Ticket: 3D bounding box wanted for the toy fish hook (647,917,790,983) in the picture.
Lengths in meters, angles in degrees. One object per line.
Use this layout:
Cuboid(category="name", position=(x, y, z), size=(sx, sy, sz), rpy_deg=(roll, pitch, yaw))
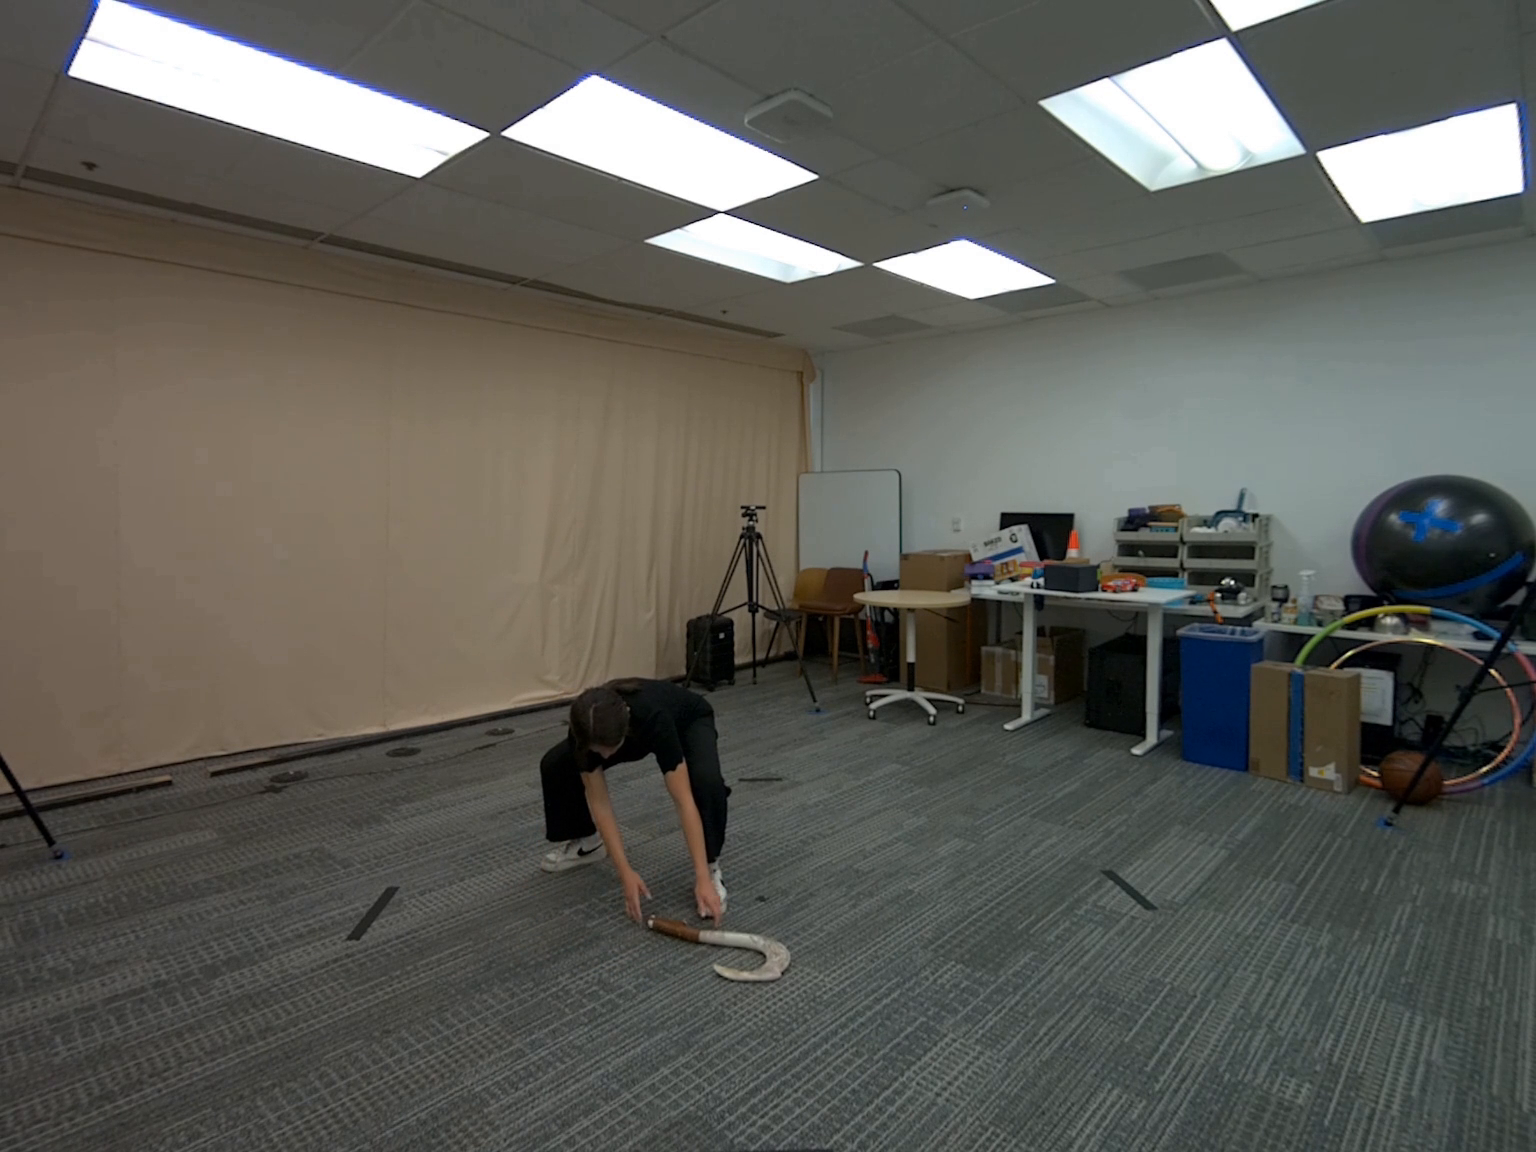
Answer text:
Cuboid(category="toy fish hook", position=(-0.191, 1.153, 2.615), size=(0.519, 0.048, 0.219), rpy_deg=(2, 4, 25))
